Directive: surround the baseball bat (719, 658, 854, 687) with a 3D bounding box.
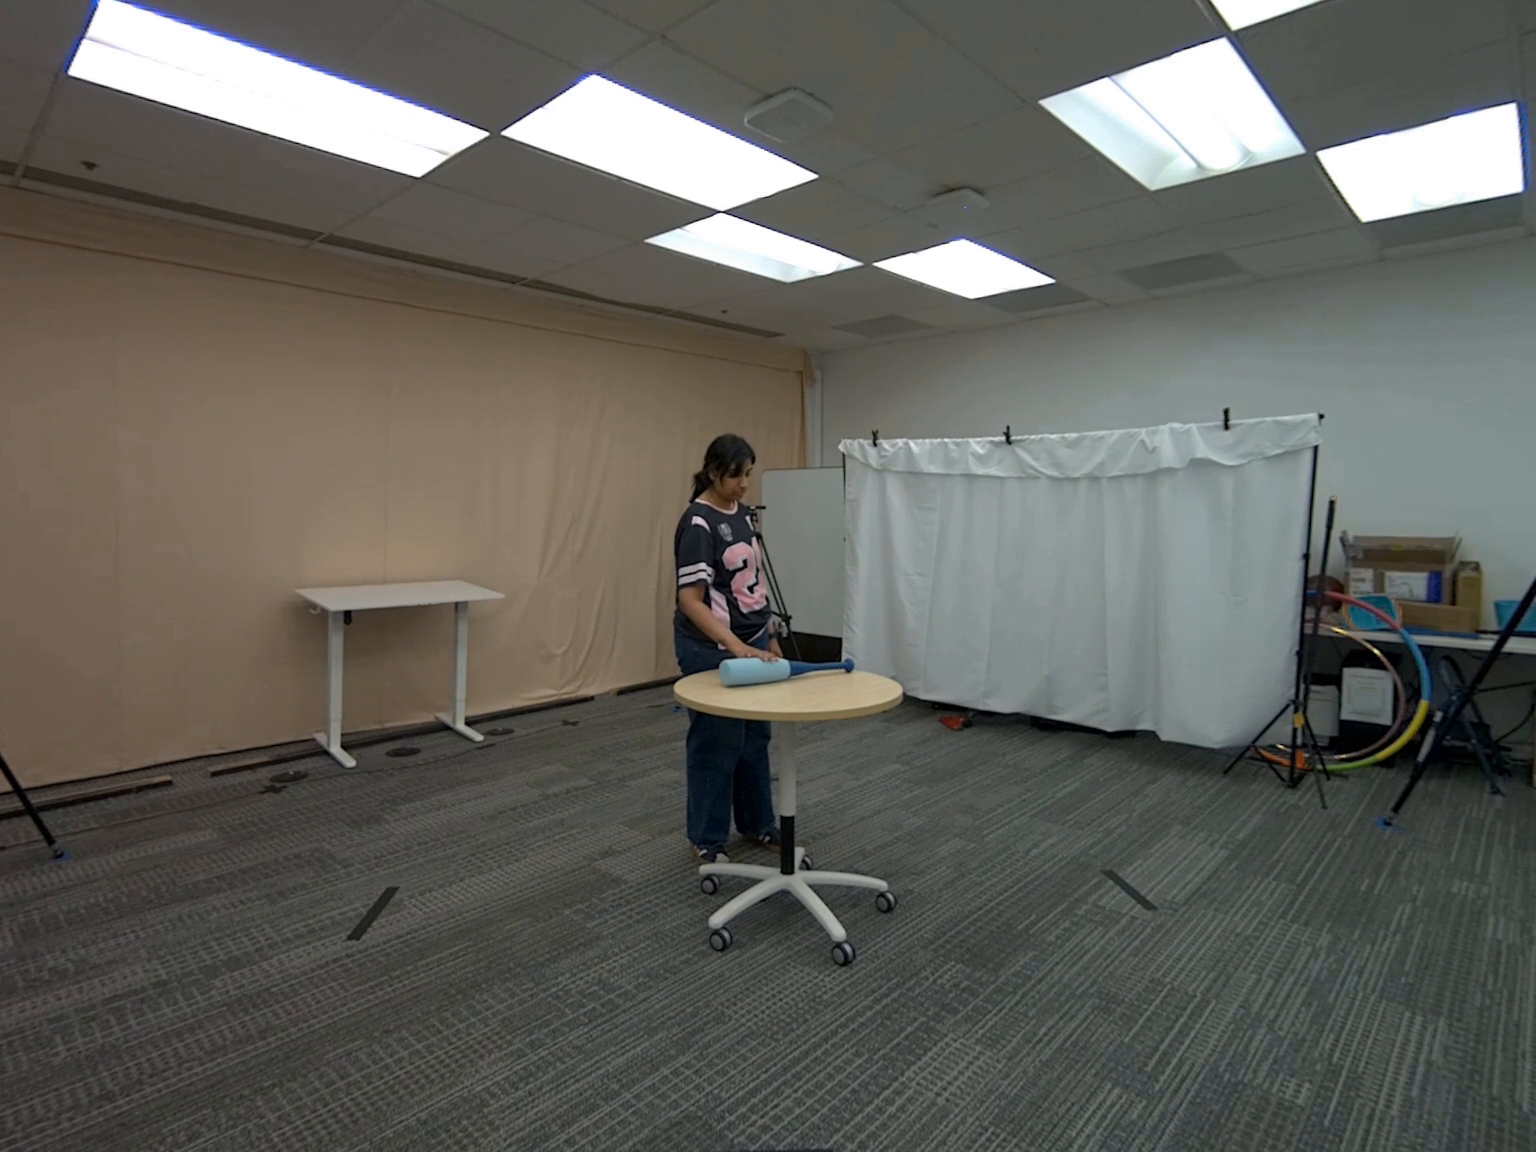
[{"bbox_3d":[0.079,0.325,2.953,0.528,0.089,0.091,0,3,-30],"label":"baseball bat"}]
